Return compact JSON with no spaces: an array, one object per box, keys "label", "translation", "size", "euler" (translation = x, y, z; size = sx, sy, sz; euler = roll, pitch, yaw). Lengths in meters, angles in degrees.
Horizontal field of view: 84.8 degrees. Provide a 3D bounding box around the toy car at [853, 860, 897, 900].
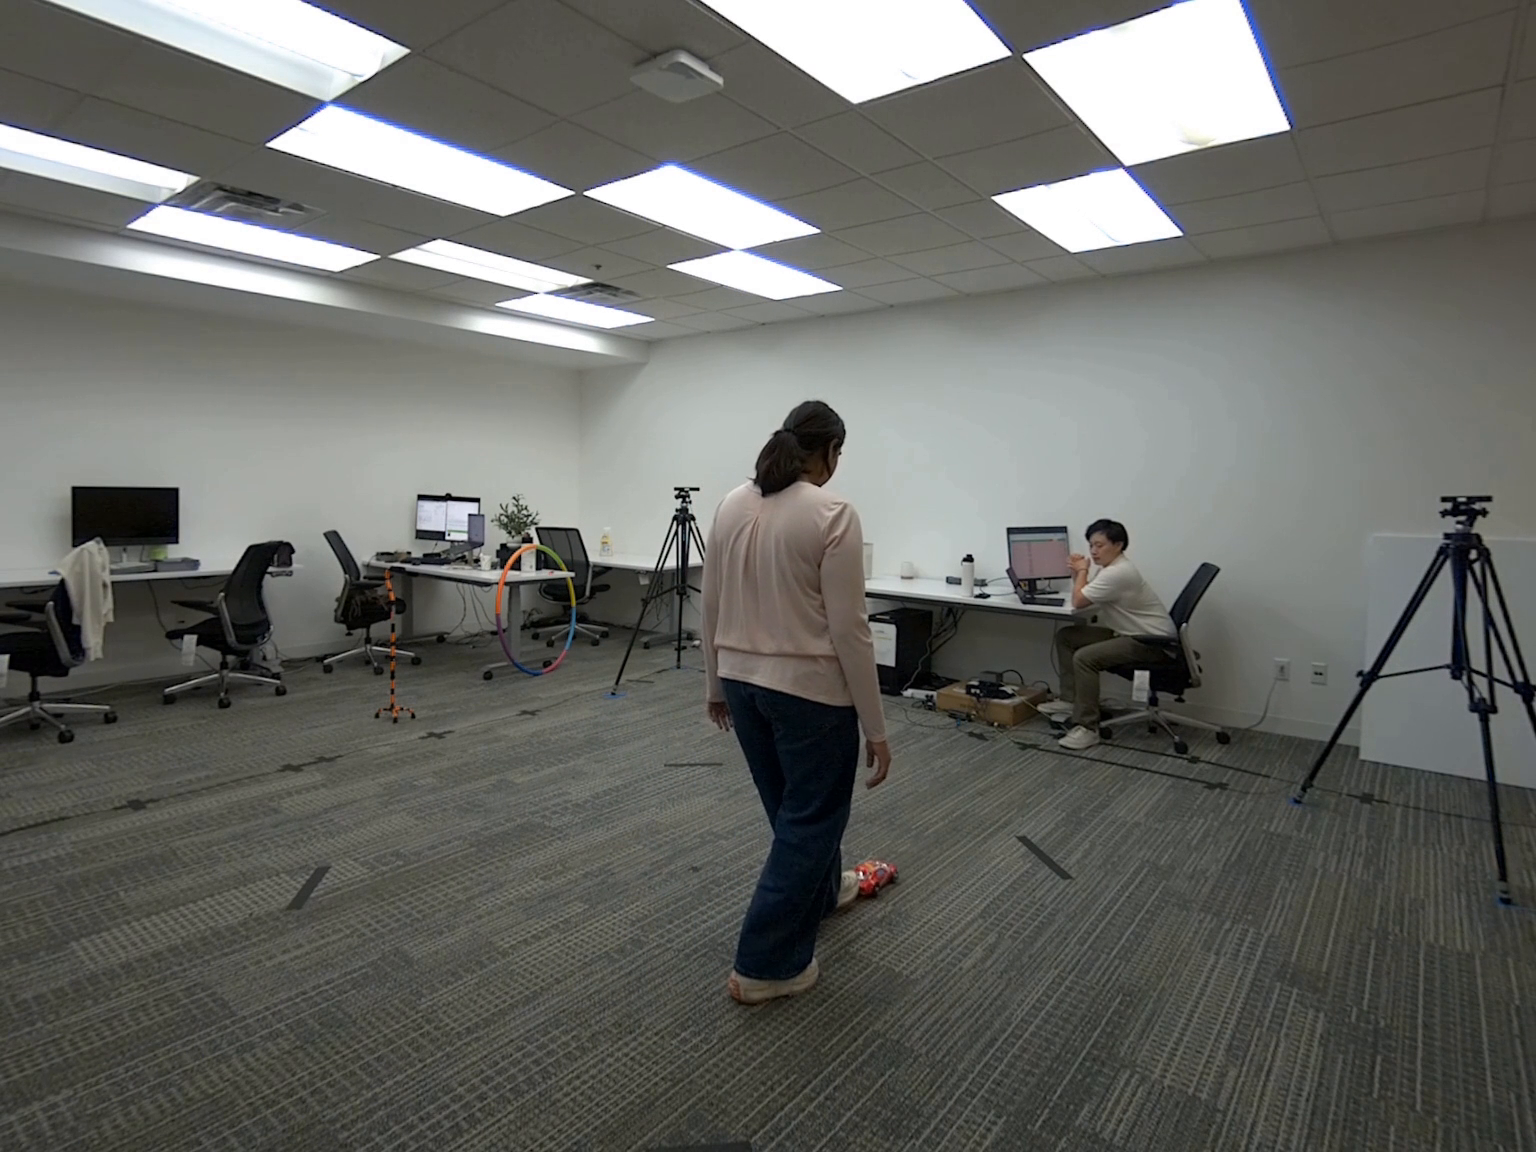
[{"label":"toy car","translation":[0.347,1.056,2.985],"size":[0.135,0.083,0.245],"euler":[6,-4,36]}]
